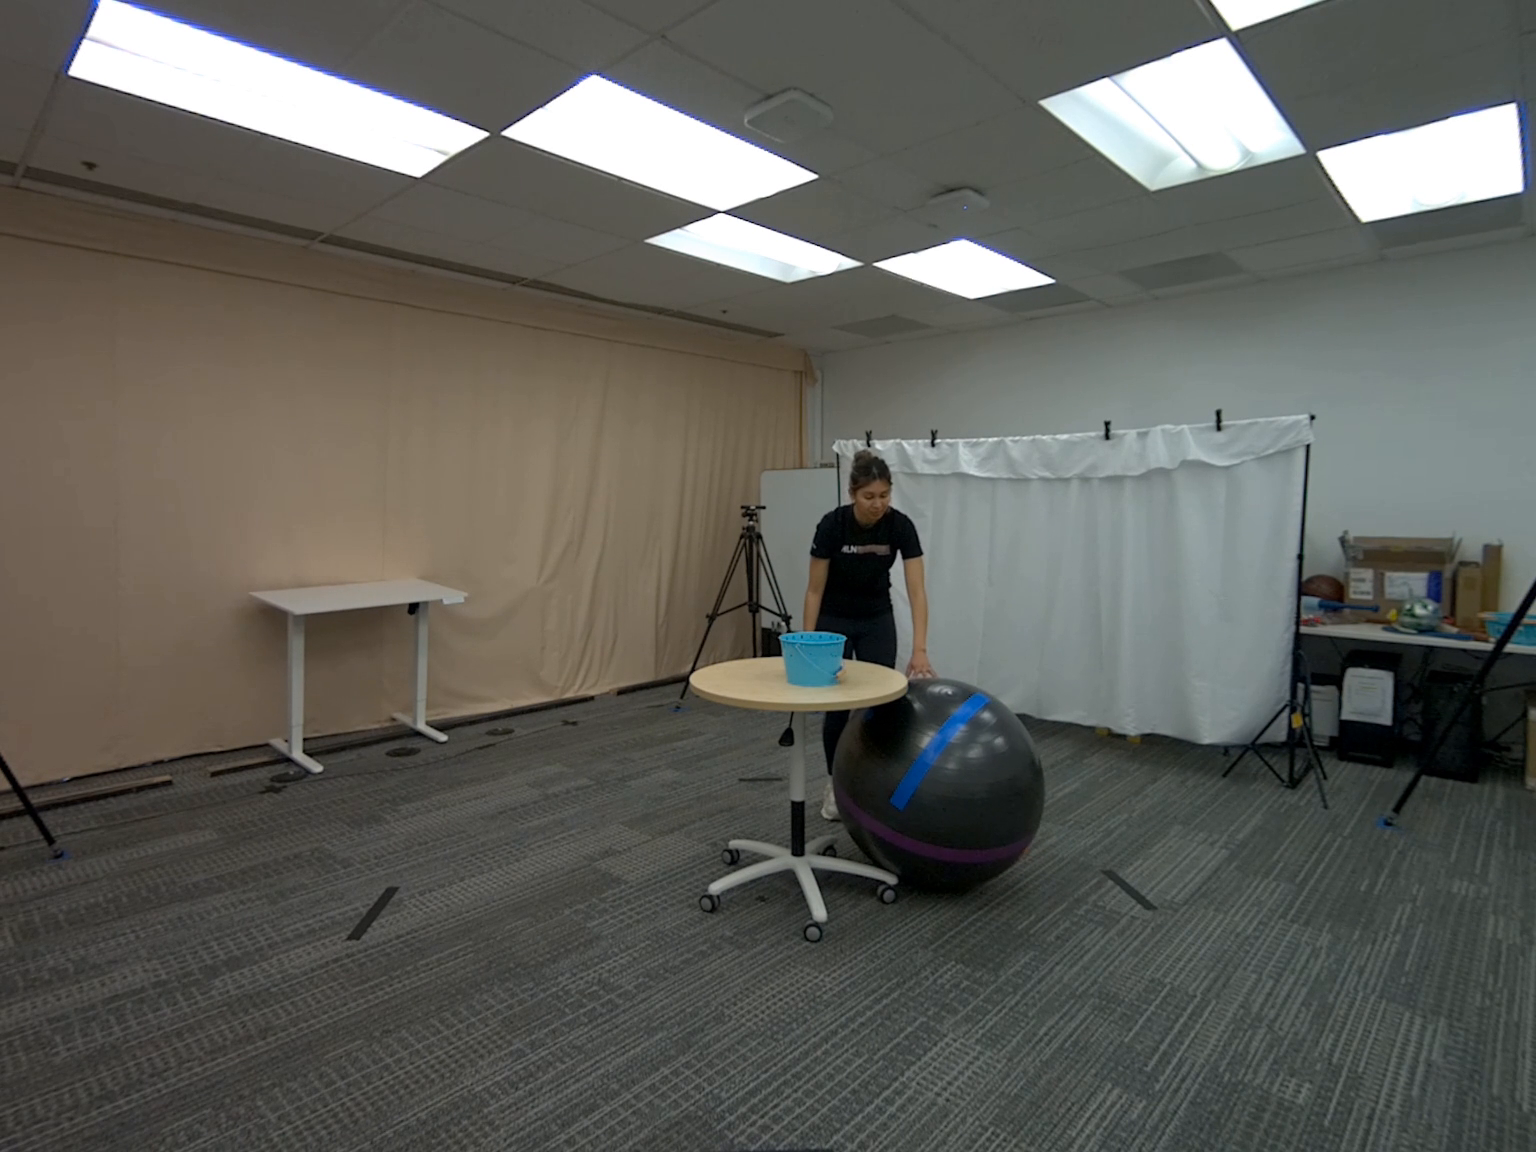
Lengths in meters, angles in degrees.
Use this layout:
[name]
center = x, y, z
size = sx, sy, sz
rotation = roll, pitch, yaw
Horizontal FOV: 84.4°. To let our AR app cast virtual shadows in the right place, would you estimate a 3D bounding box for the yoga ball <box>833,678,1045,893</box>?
[yoga ball]
center = 0.643, 0.765, 3.117
size = 0.757, 0.756, 0.761
rotation = 0, 4, -2
